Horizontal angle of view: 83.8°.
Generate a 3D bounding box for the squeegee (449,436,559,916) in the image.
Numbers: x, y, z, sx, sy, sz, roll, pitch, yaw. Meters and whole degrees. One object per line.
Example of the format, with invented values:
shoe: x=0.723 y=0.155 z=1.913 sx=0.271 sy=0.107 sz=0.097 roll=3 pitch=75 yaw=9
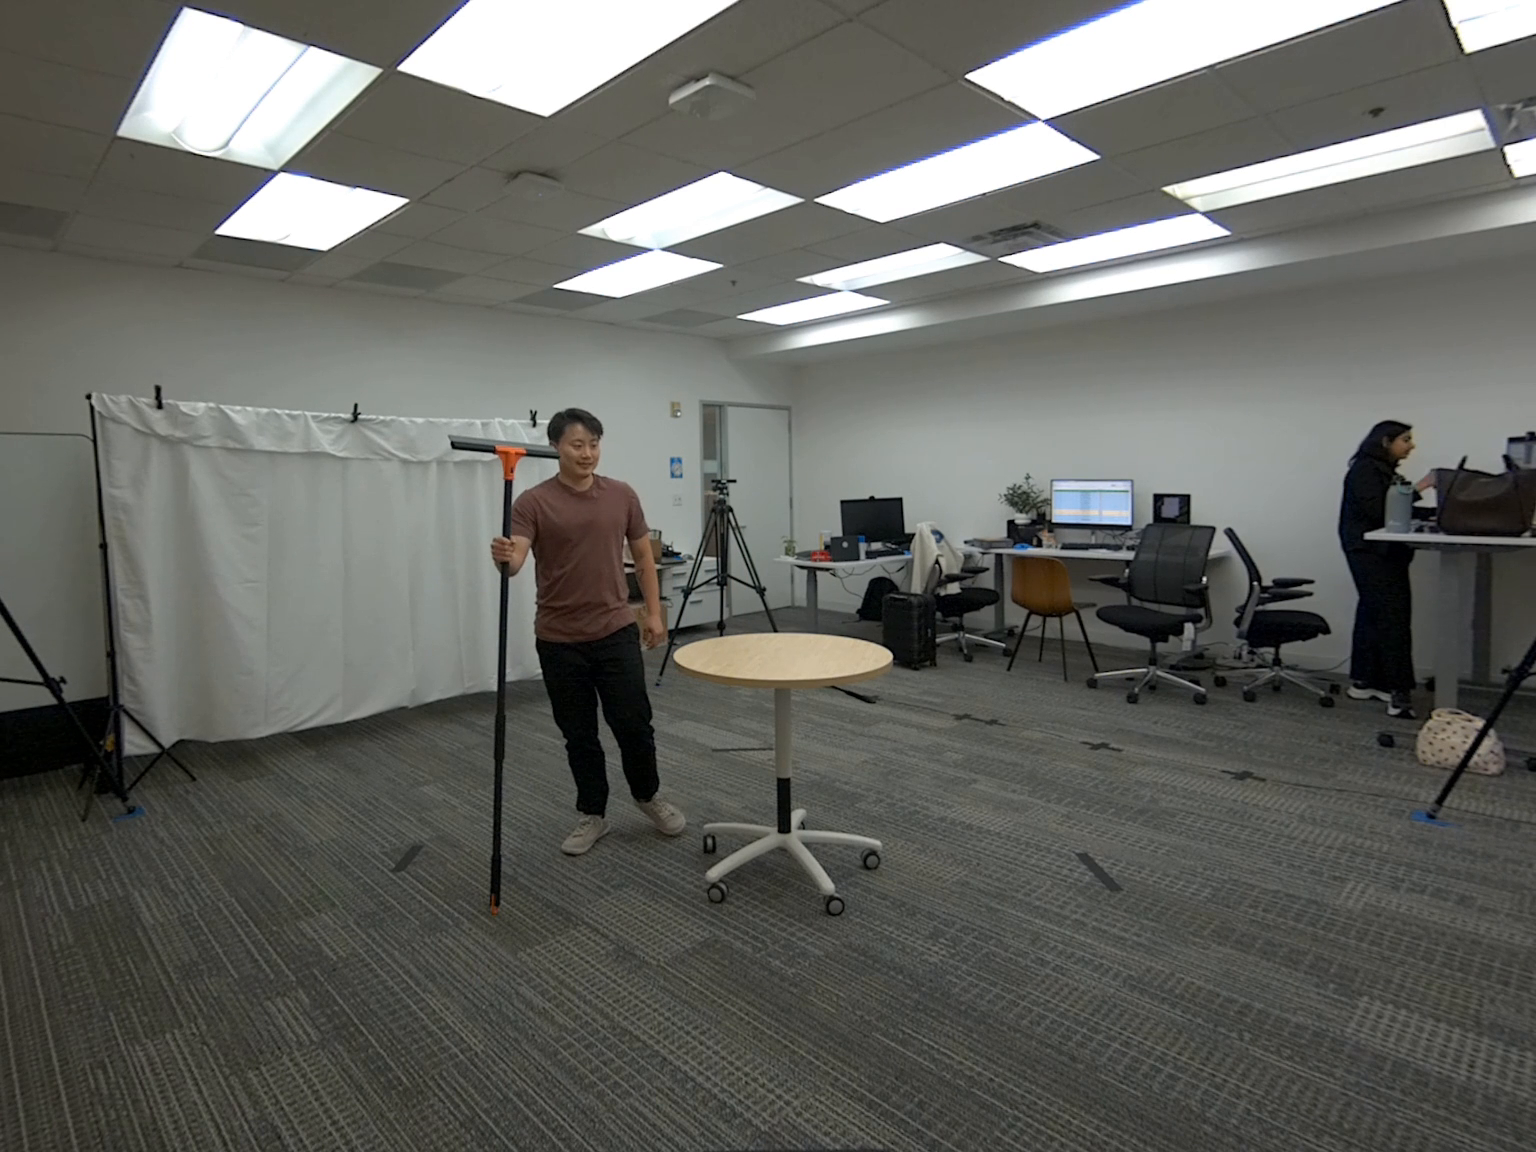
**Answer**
squeegee: x=-0.861 y=0.334 z=2.768 sx=0.054 sy=1.535 sz=0.425 roll=3 pitch=2 yaw=38
